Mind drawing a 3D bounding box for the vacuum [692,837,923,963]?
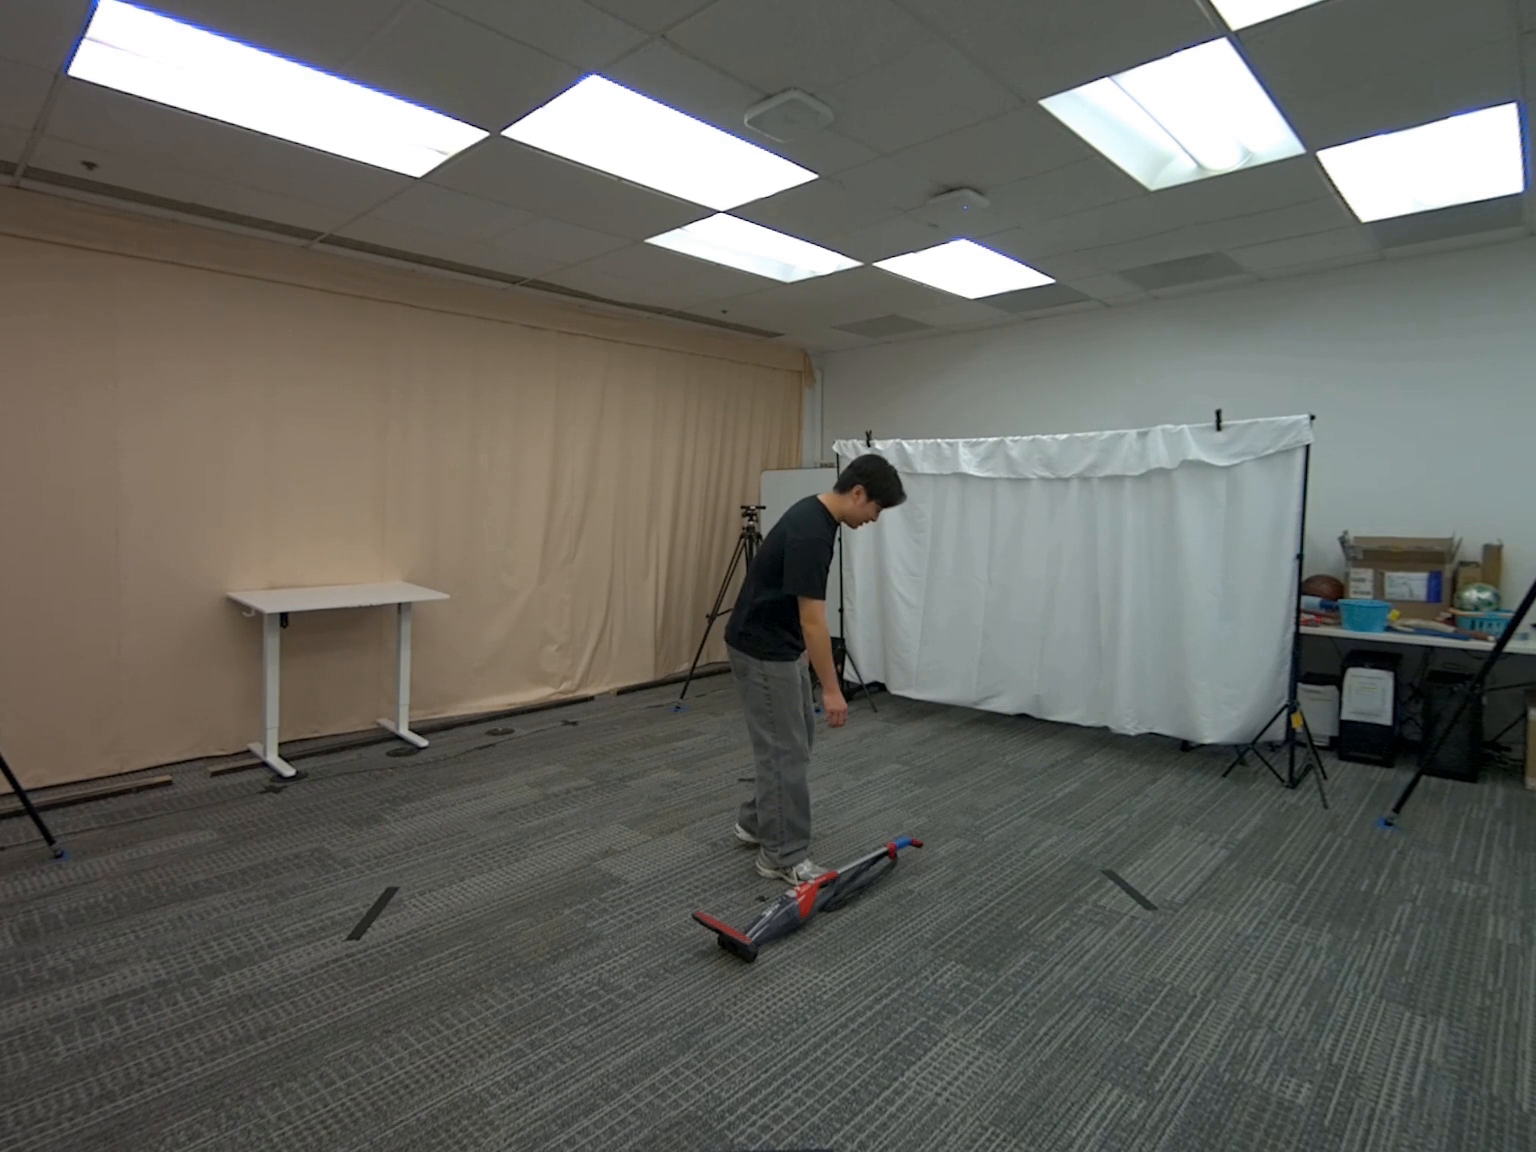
[{"bbox_3d":[0.233,1.090,2.935,1.017,0.143,0.261,-5,6,-44],"label":"vacuum"}]
